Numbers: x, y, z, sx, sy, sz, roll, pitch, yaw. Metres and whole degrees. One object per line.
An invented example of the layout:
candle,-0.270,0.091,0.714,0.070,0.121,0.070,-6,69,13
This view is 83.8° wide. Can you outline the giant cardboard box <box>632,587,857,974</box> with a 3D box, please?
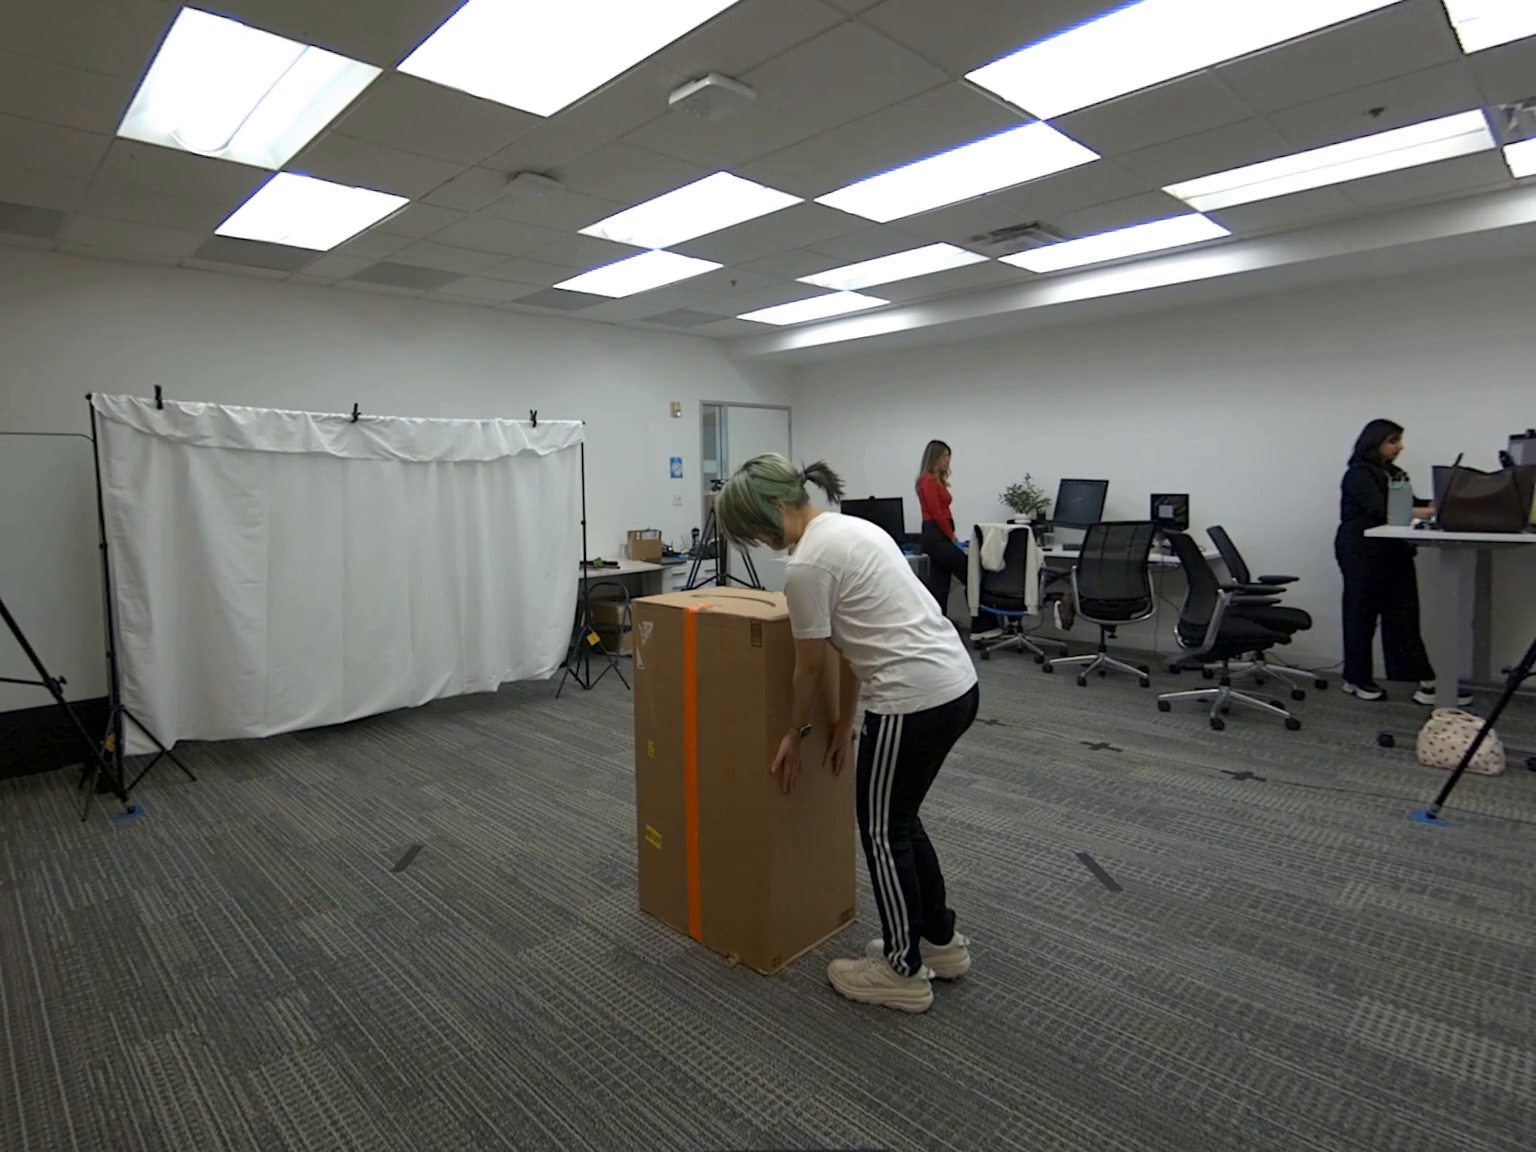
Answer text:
giant cardboard box,-0.082,0.585,2.713,0.602,1.024,0.435,3,5,42
